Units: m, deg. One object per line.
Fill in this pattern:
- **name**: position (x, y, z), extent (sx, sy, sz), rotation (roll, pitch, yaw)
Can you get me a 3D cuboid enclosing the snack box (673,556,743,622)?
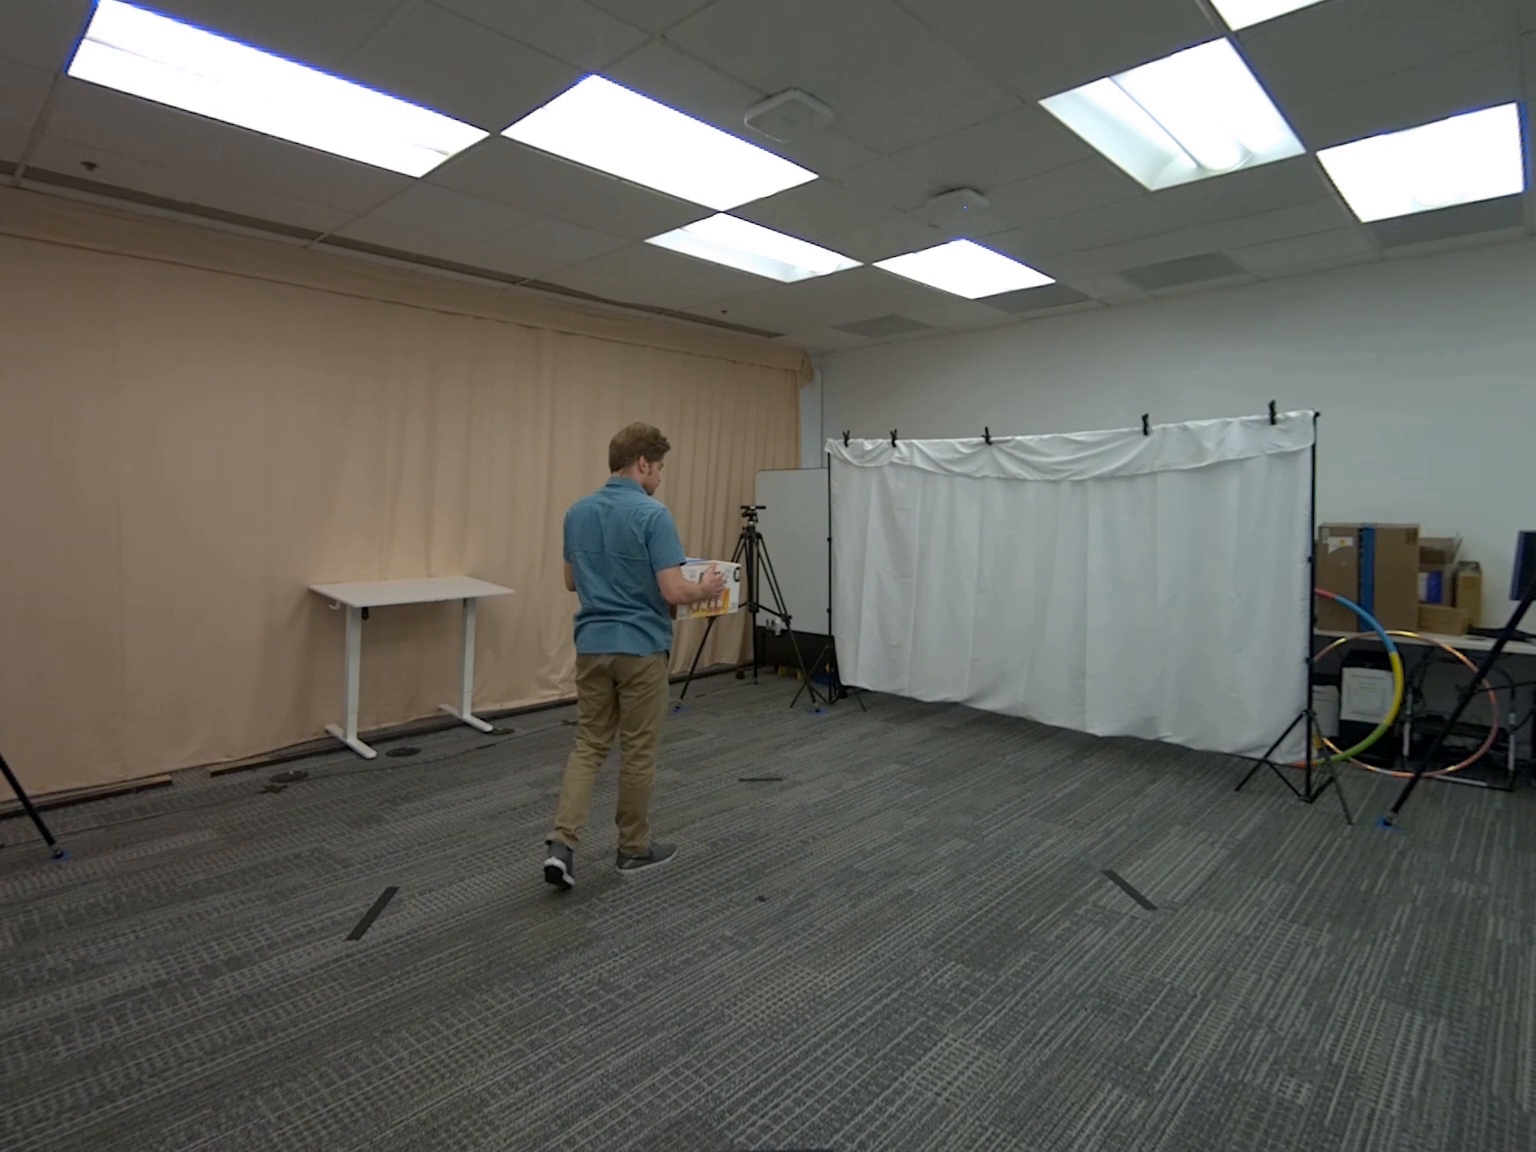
- **snack box**: position (-0.367, 0.037, 3.387), extent (0.351, 0.205, 0.393), rotation (8, 6, 34)
